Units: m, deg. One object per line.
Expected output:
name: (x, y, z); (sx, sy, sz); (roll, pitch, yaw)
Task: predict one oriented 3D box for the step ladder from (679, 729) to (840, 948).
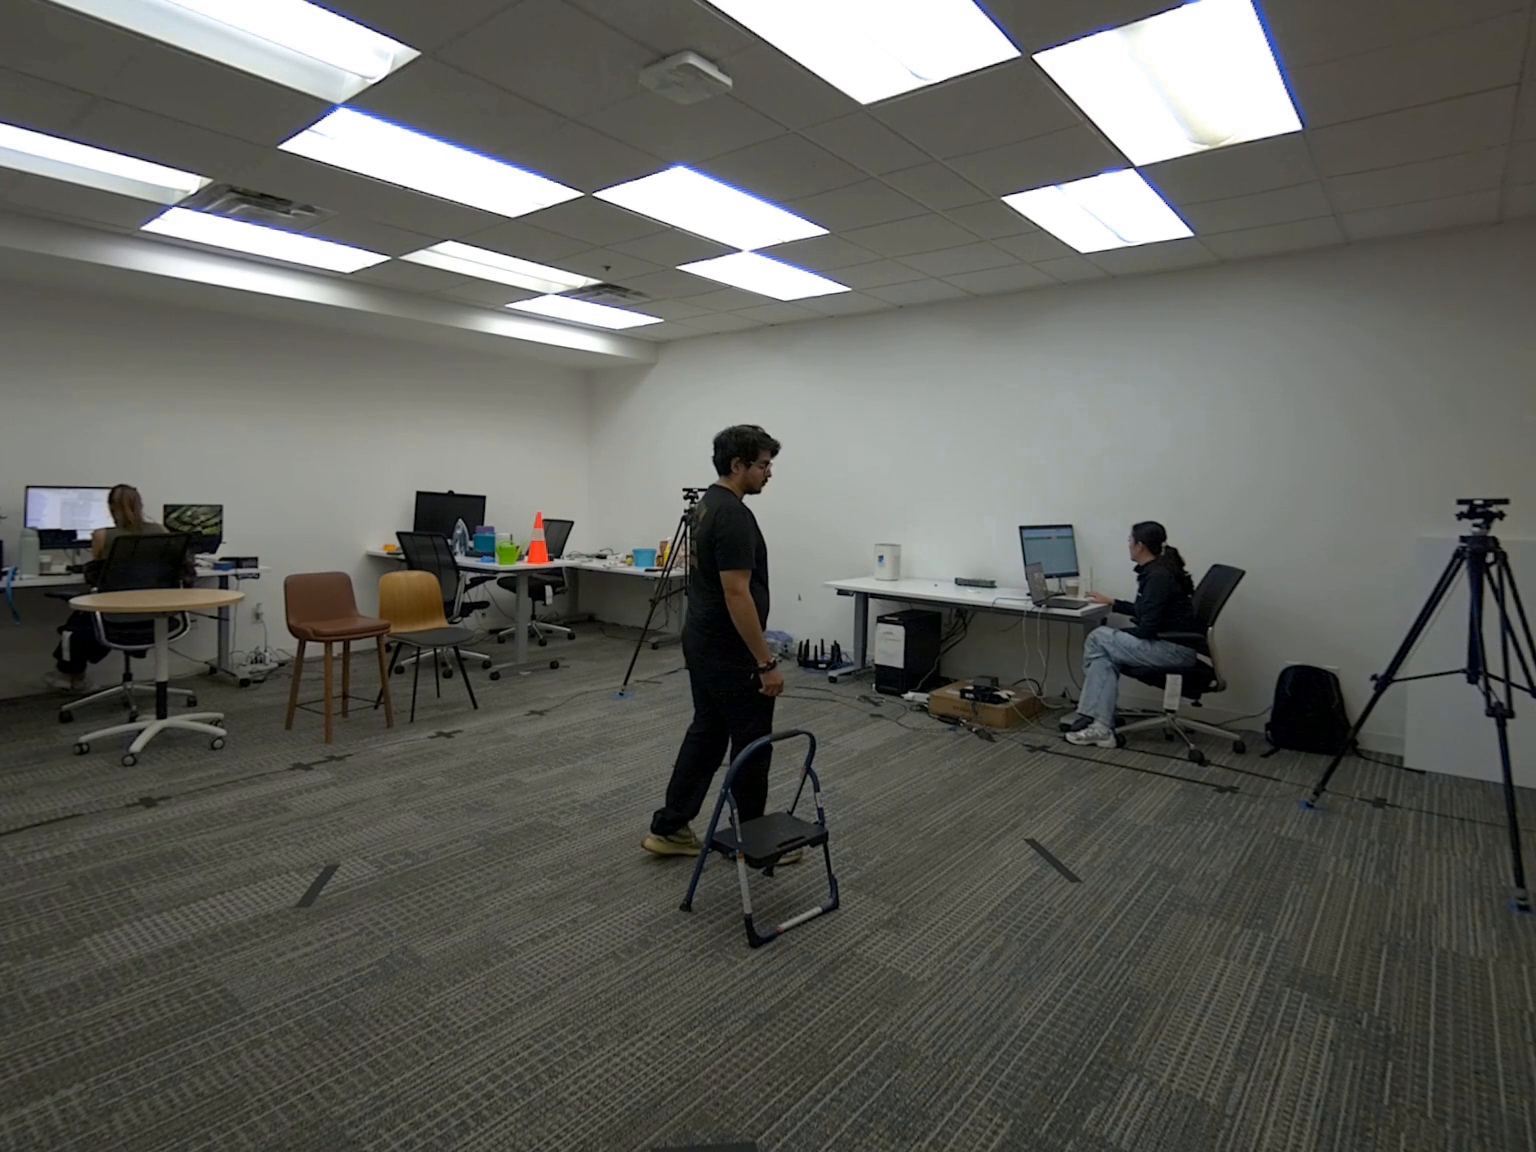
step ladder: (-0.022, 0.797, 2.817); (0.361, 0.604, 0.417); (4, 5, 44)
